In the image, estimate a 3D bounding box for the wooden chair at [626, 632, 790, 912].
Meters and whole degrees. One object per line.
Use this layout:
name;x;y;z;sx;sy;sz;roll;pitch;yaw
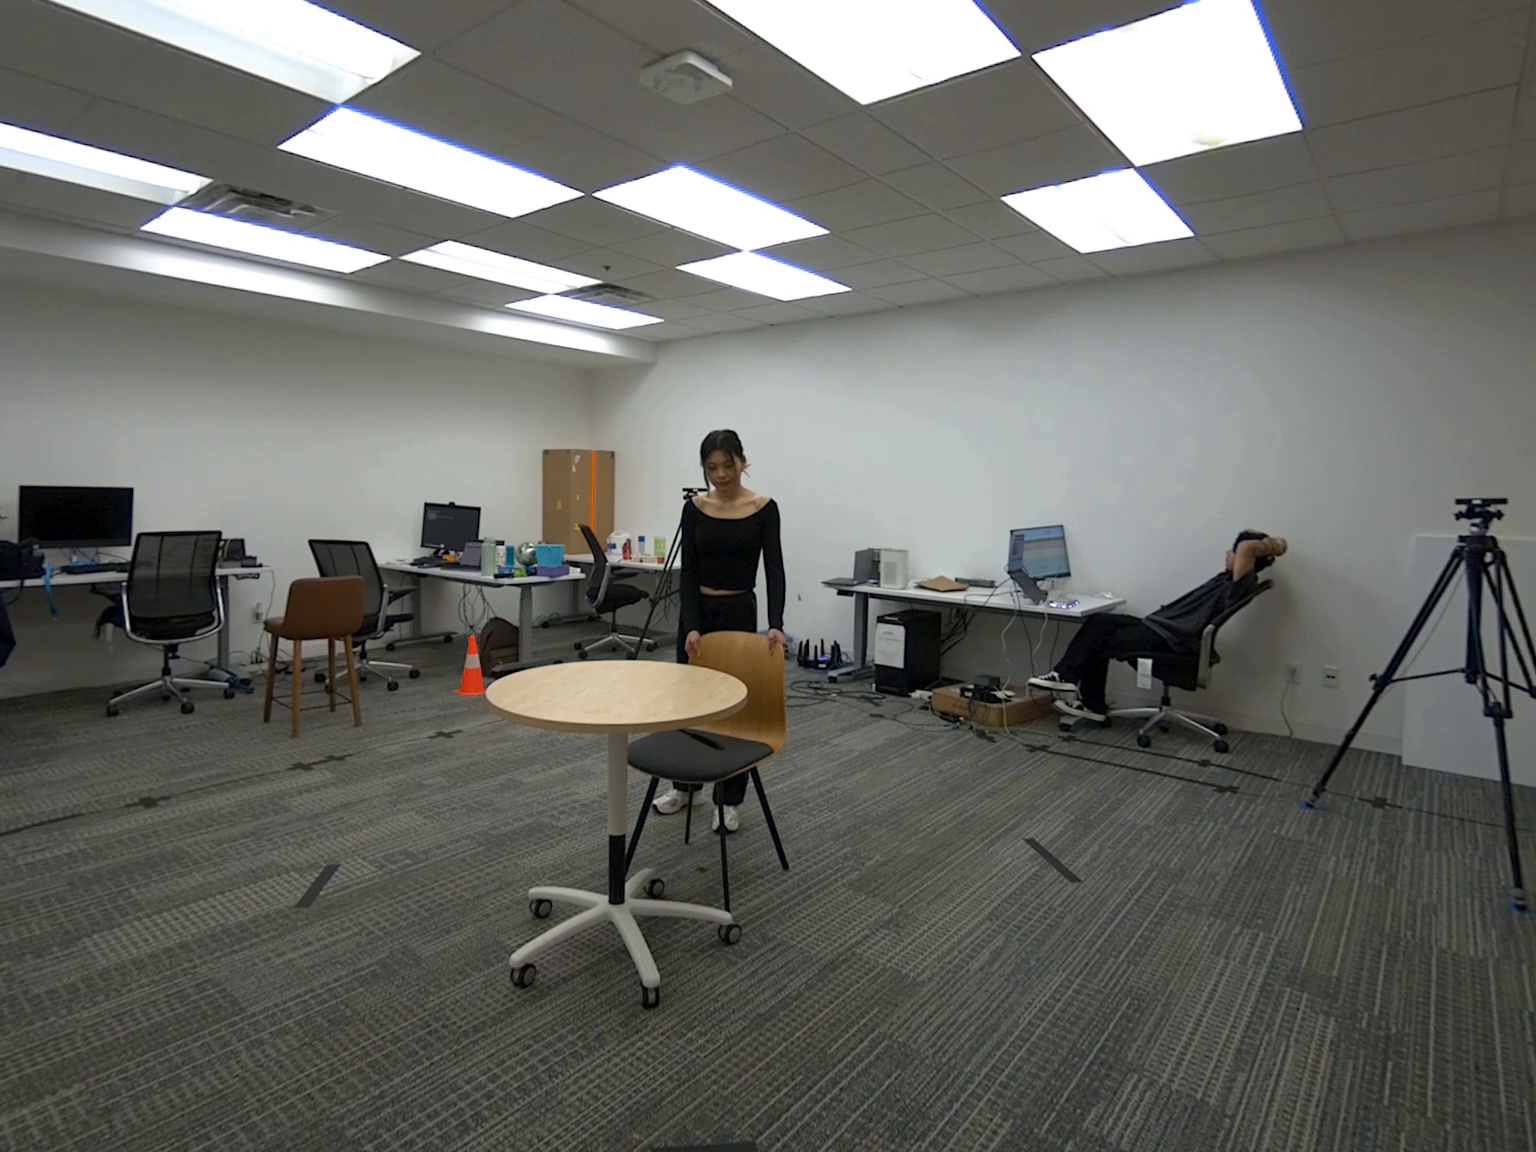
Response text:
wooden chair;-0.225;0.649;3.009;0.492;0.878;0.508;3;0;29
